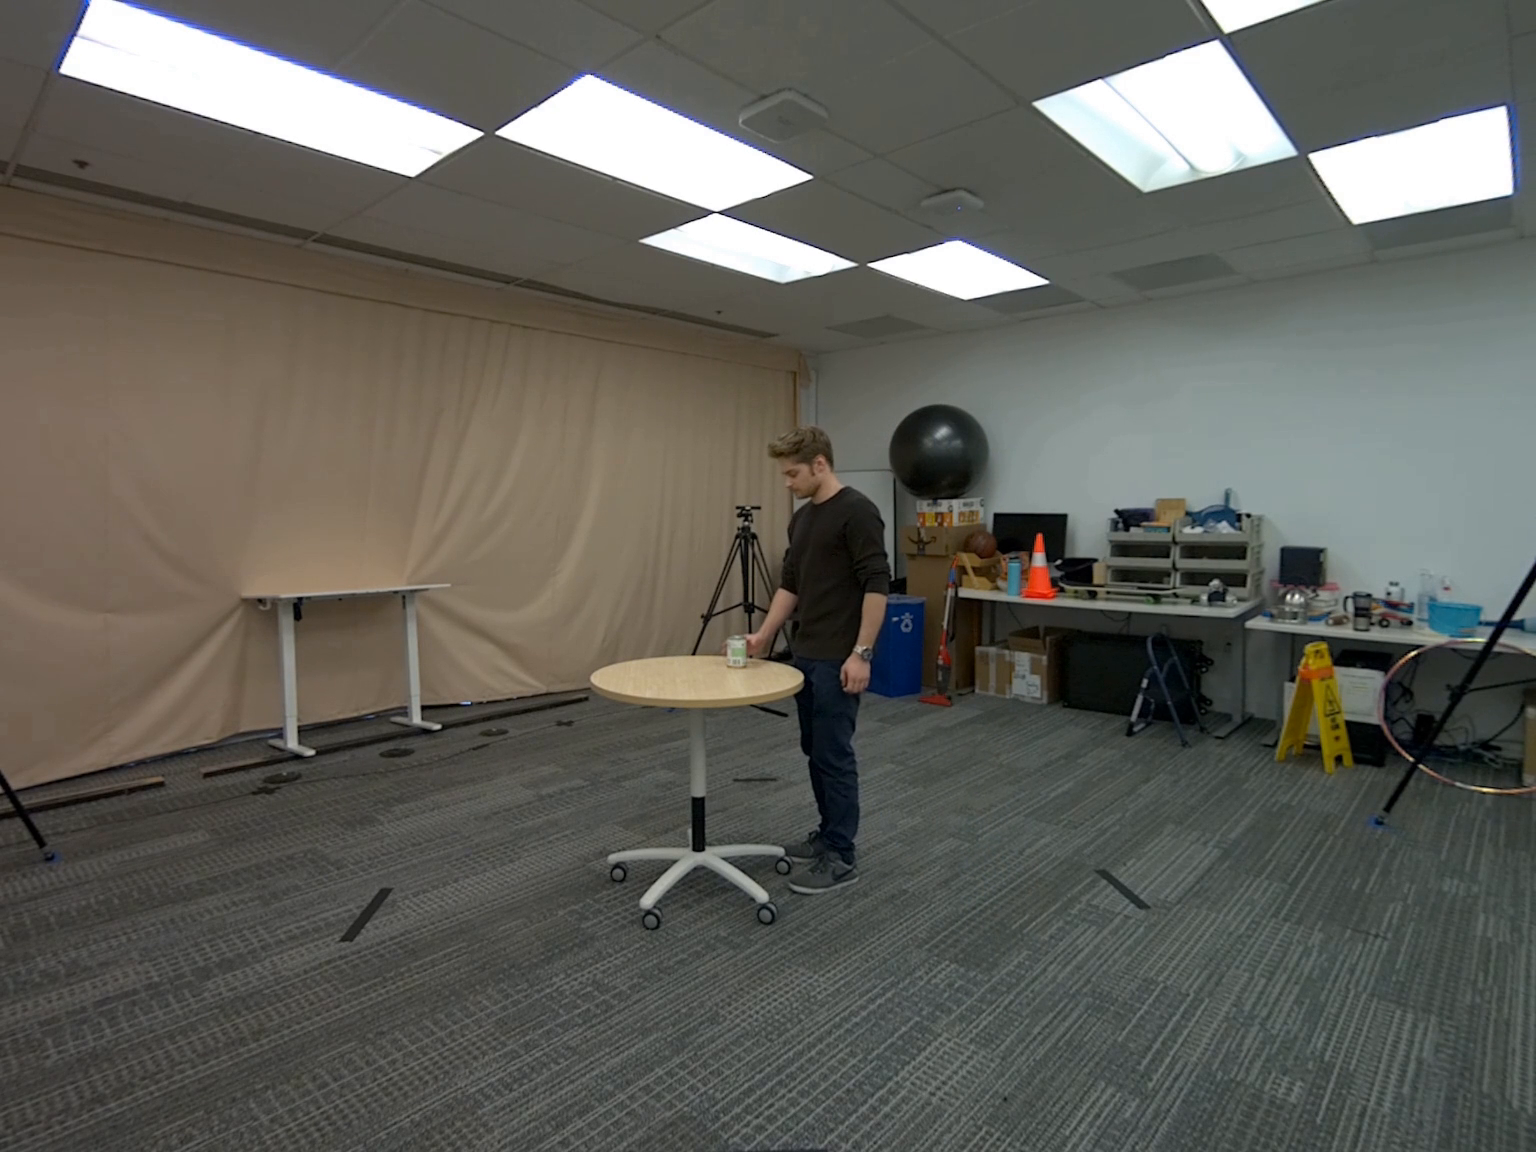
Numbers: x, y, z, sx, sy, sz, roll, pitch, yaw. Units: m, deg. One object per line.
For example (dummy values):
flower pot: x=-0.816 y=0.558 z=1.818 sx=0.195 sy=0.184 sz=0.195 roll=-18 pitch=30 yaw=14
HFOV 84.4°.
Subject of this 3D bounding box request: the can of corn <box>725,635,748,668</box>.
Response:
can of corn: x=-0.114 y=0.292 z=3.196 sx=0.074 sy=0.111 sz=0.074 roll=1 pitch=1 yaw=-2
